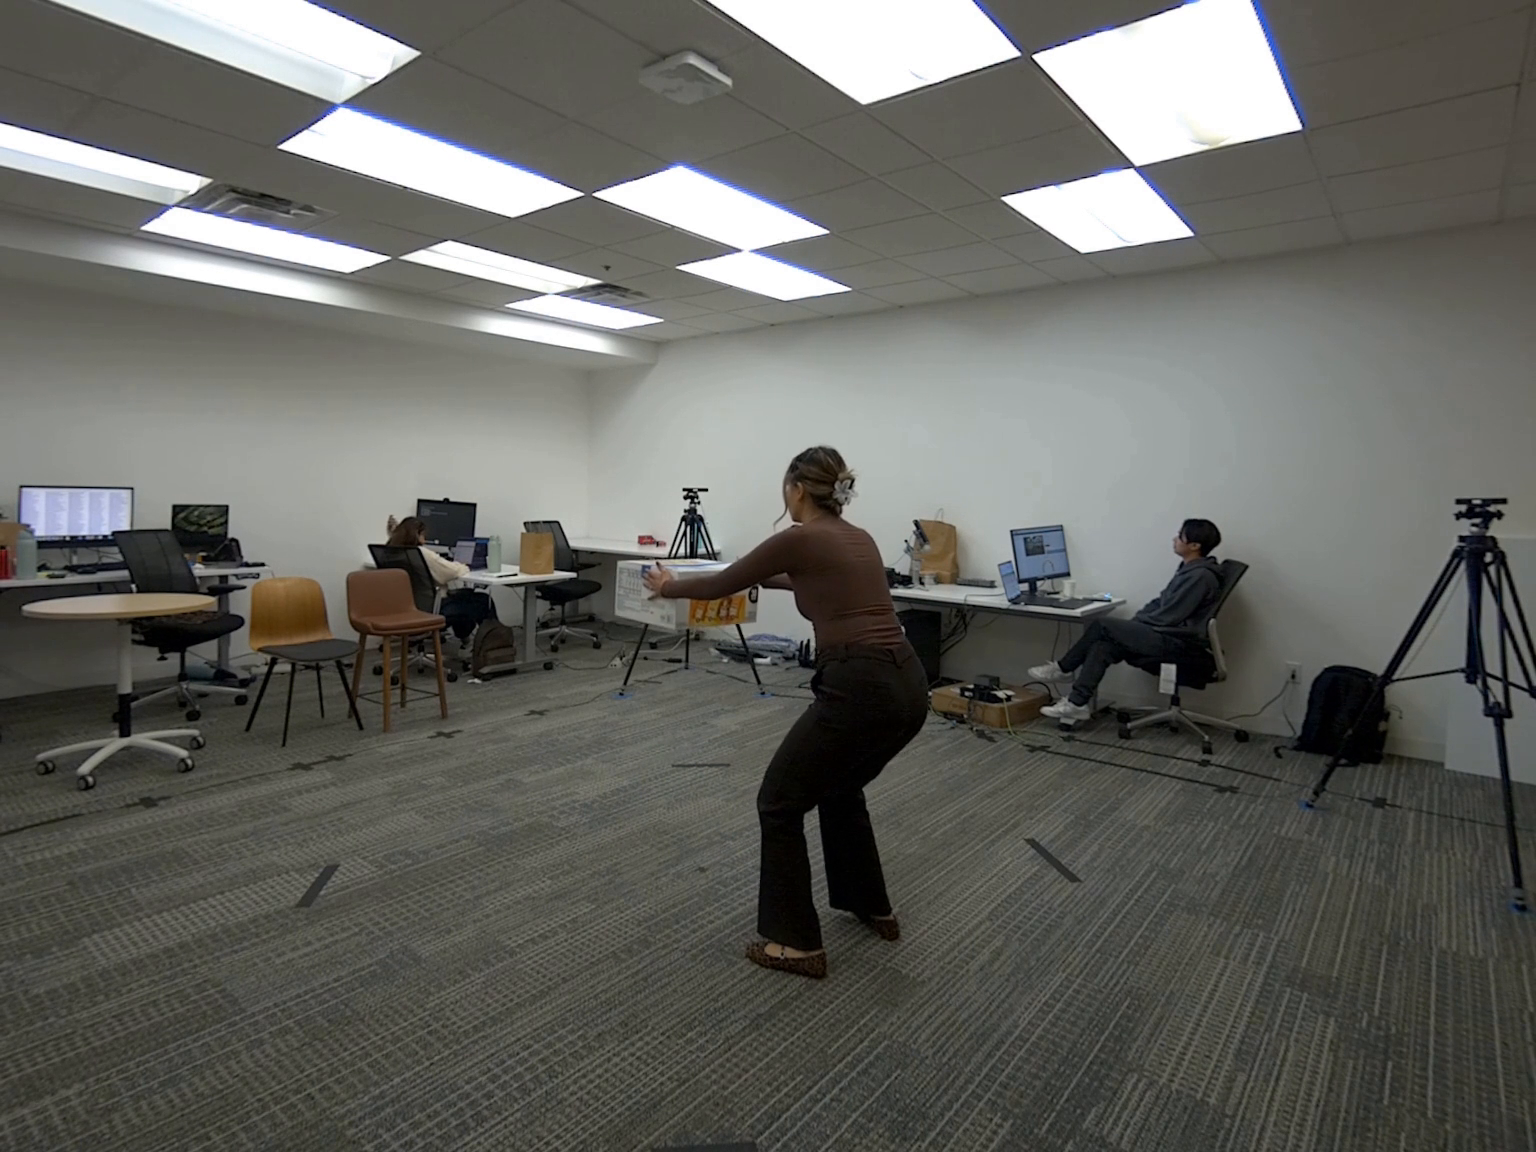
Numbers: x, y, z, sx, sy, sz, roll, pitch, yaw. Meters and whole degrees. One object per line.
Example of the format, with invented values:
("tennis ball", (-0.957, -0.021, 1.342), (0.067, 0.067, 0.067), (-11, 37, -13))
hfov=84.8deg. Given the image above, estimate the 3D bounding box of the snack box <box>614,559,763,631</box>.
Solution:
("snack box", (-0.304, 0.061, 3.113), (0.352, 0.205, 0.392), (8, 7, 43))
